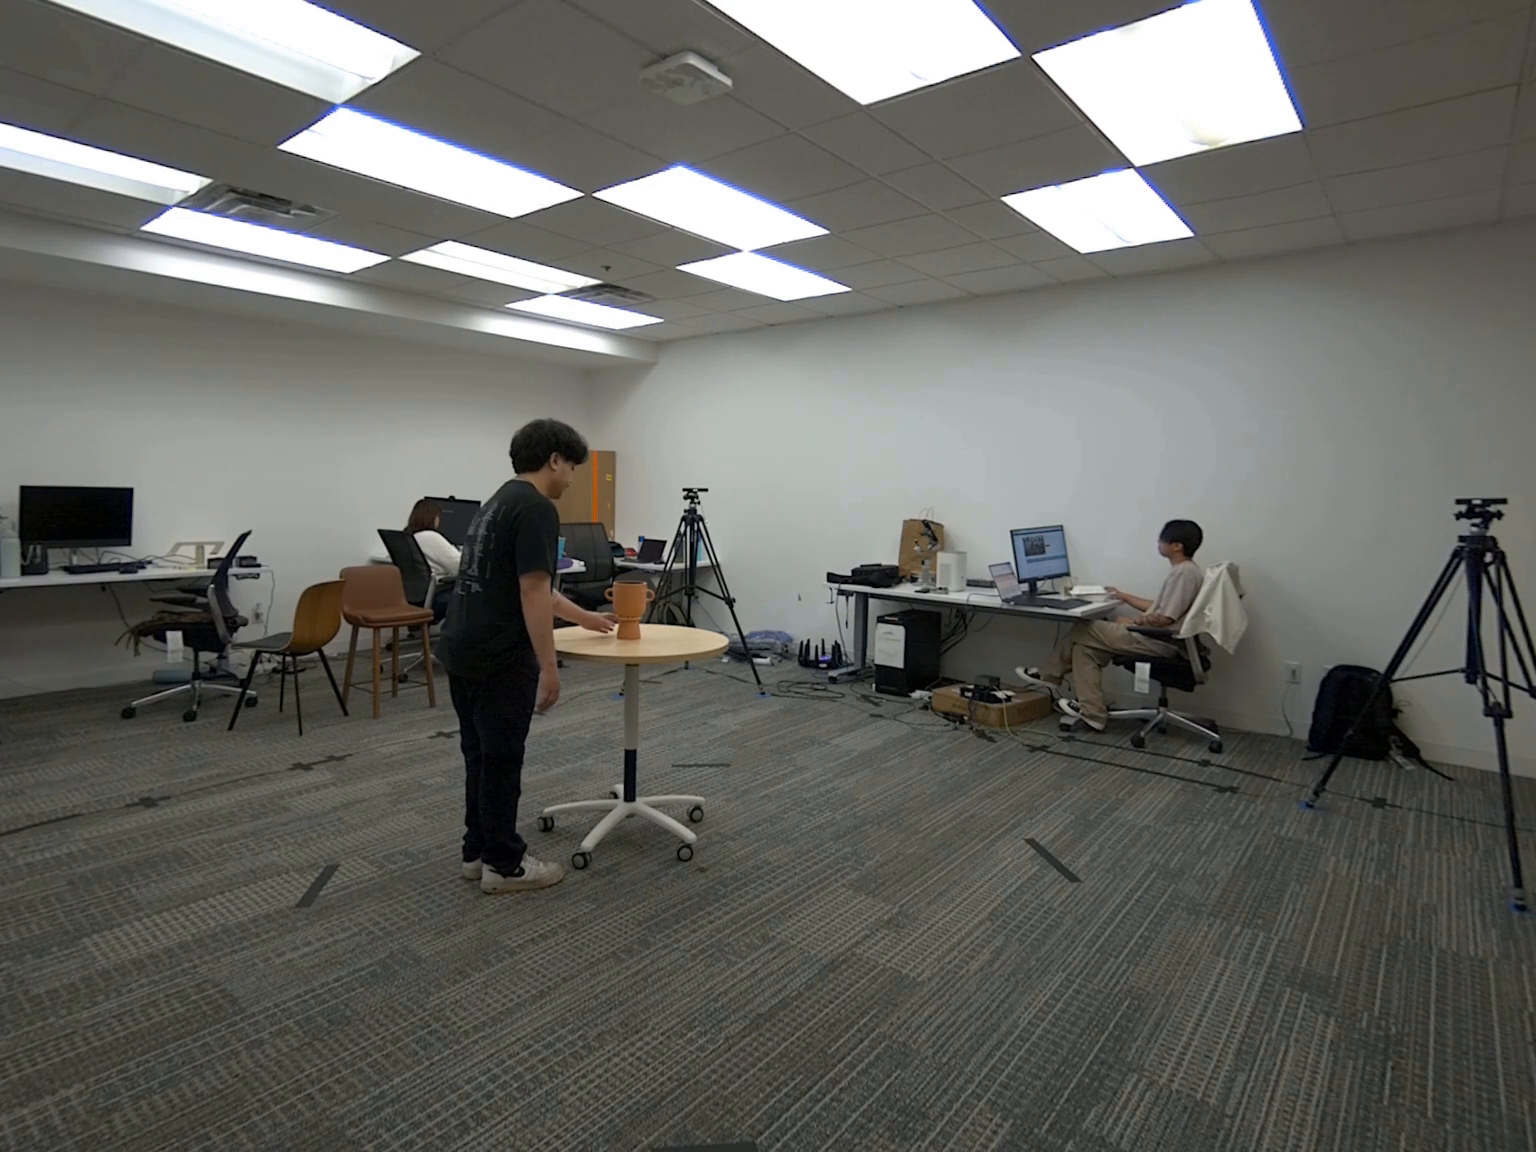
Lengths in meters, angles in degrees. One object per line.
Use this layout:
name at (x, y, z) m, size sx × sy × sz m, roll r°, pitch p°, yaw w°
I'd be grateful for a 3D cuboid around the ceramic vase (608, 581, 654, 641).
ceramic vase at (-0.568, 0.137, 3.380) m, size 0.164 × 0.219 × 0.131 m, roll 5°, pitch 5°, yaw 38°
